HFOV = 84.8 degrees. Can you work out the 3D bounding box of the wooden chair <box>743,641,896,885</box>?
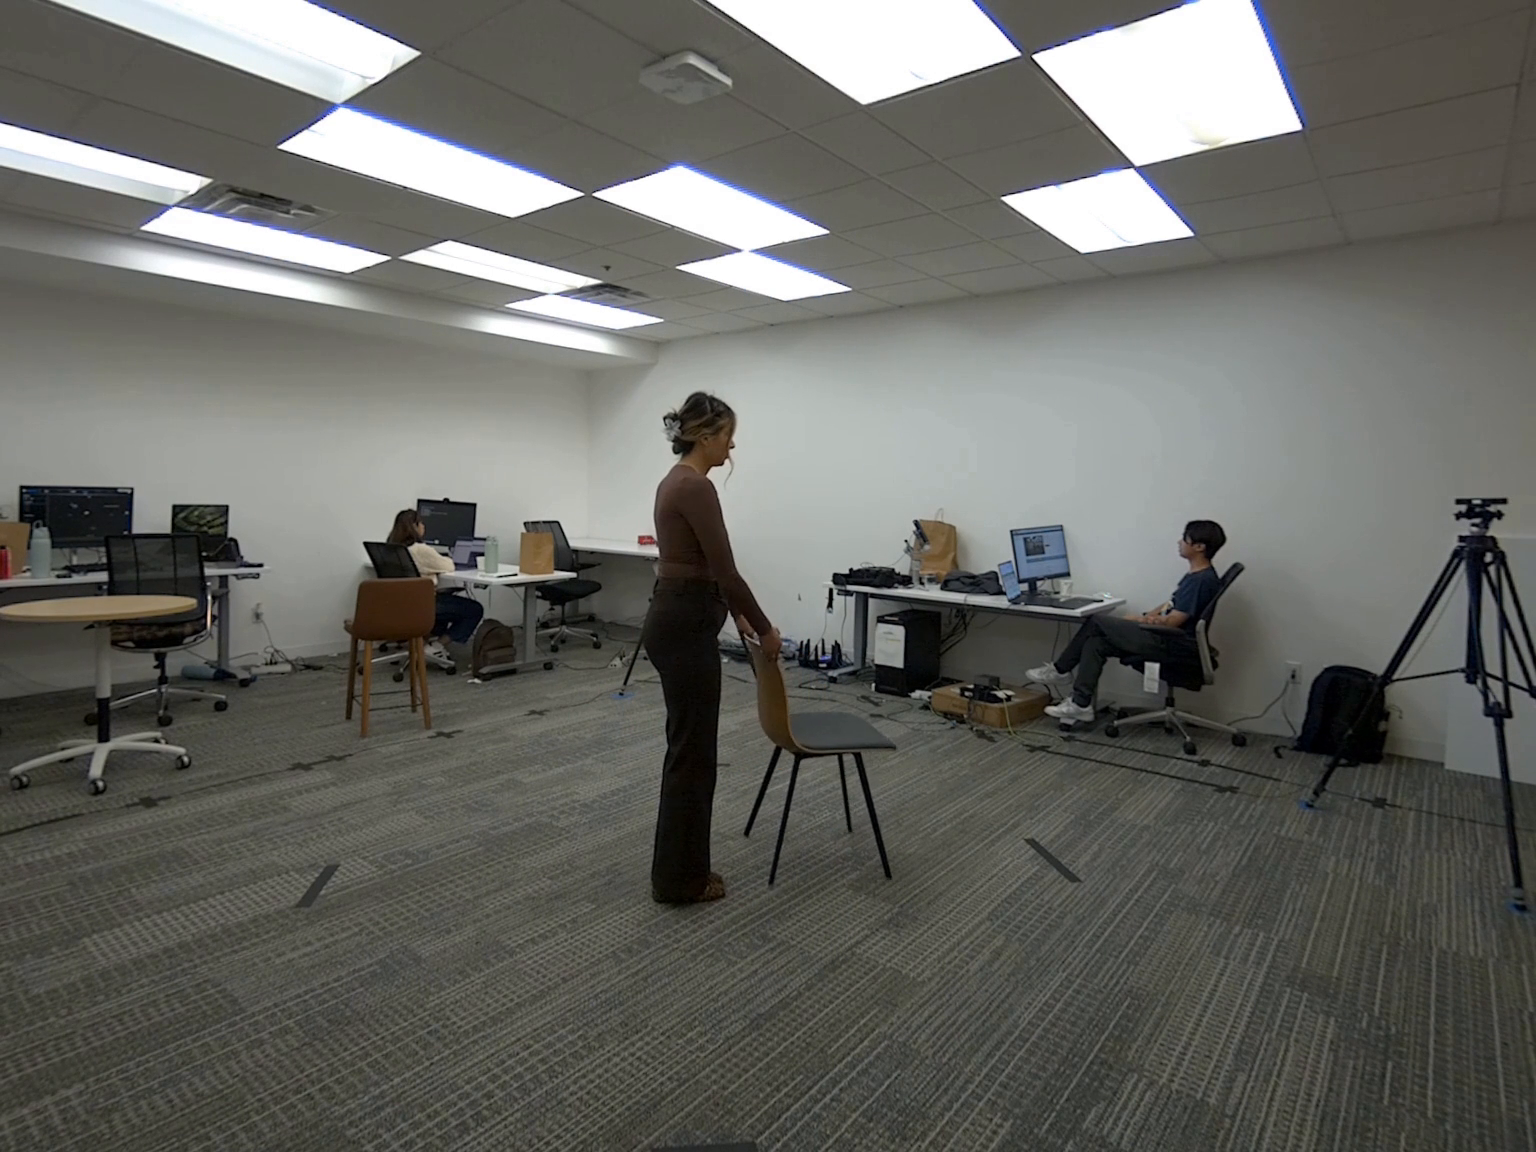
[{"bbox_3d":[0.177,0.639,3.217,0.518,0.875,0.485,-3,3,-11],"label":"wooden chair"}]
